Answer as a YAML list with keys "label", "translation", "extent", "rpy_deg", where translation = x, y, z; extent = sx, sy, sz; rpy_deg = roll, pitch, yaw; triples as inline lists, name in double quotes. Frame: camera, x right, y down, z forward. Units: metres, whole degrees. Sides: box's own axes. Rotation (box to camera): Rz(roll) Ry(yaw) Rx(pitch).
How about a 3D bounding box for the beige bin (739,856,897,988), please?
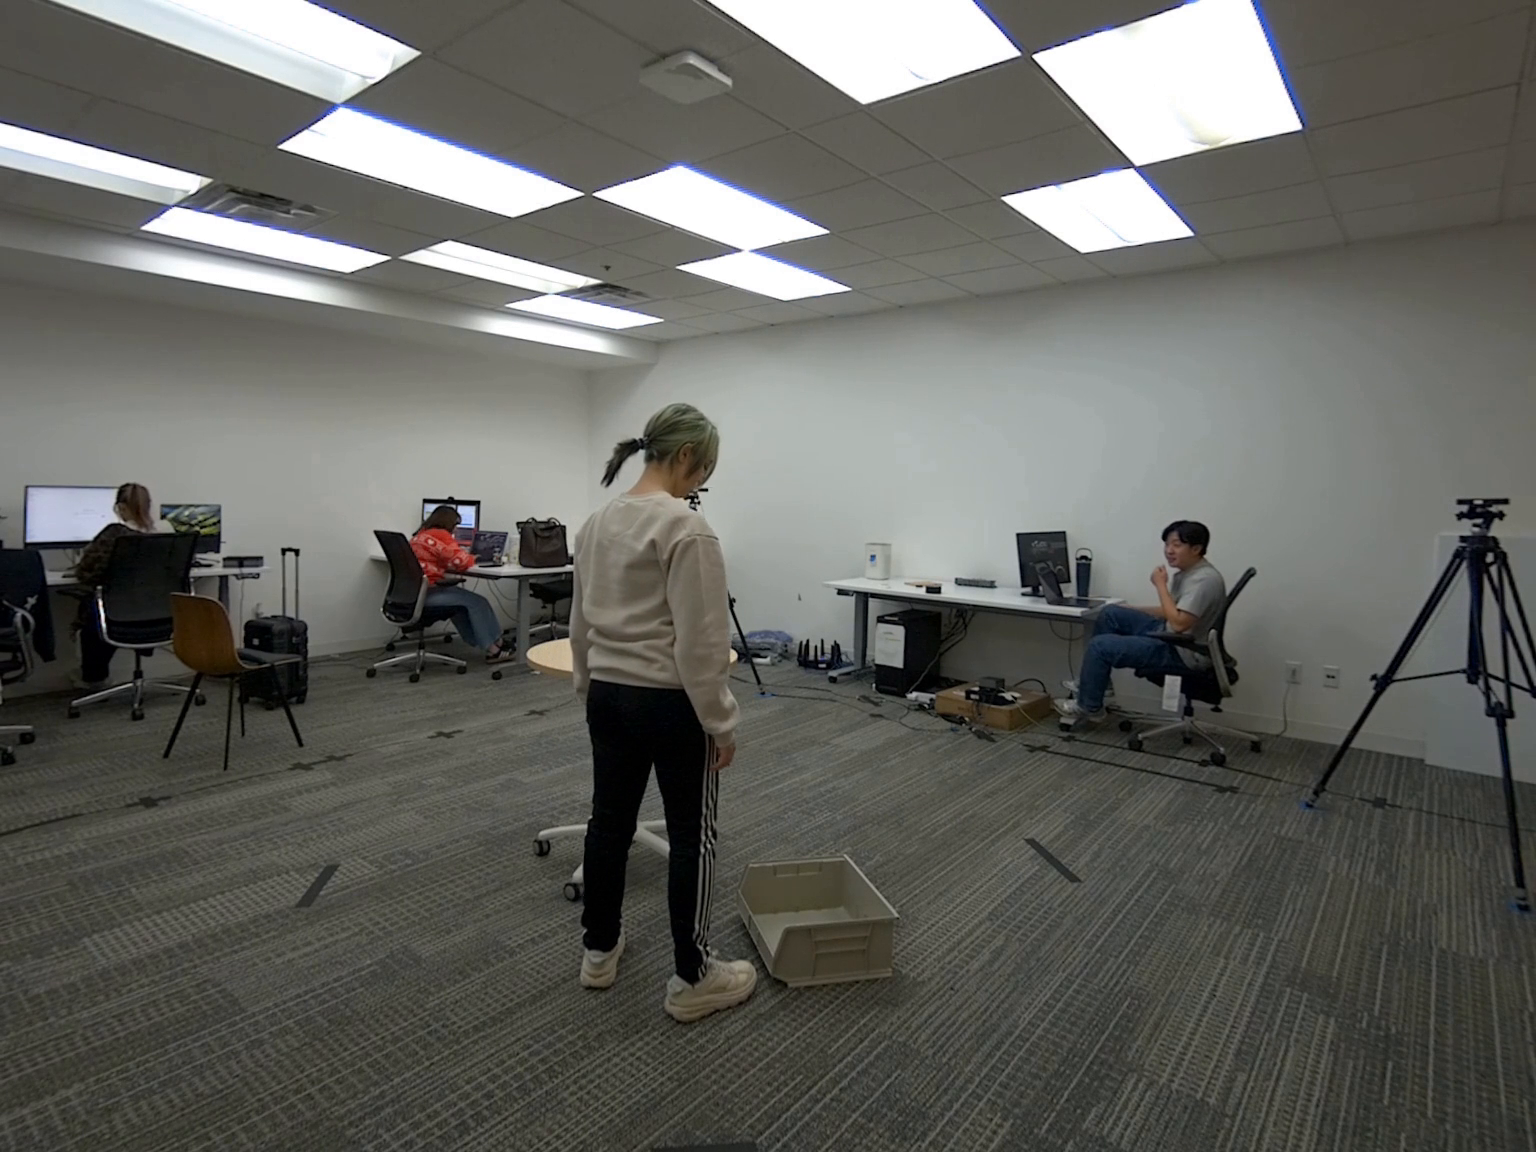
- label: "beige bin"
  translation: [0.132, 1.039, 2.598]
  extent: [0.372, 0.188, 0.430]
  rpy_deg: [1, 4, -15]
